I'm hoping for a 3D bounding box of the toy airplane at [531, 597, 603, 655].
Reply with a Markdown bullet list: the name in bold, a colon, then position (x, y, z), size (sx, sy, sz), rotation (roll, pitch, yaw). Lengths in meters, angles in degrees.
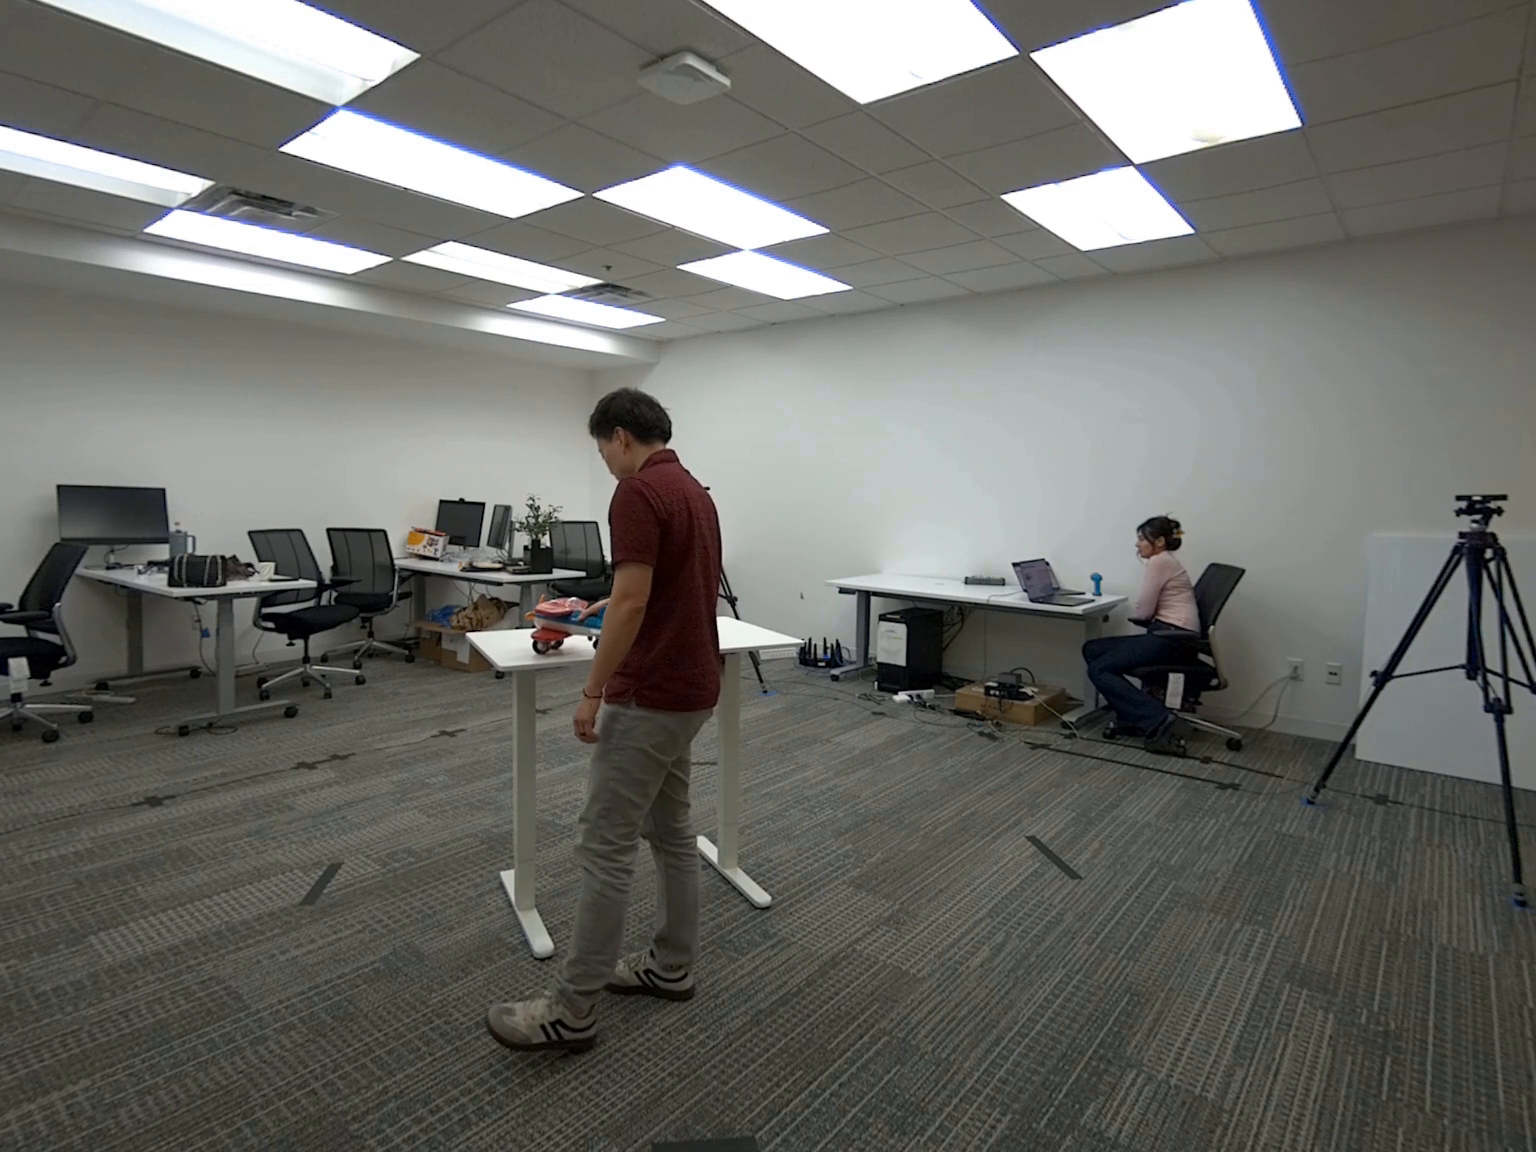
- **toy airplane**: position (-0.607, 0.148, 2.595), size (0.256, 0.156, 0.255), rotation (-6, 4, -13)
